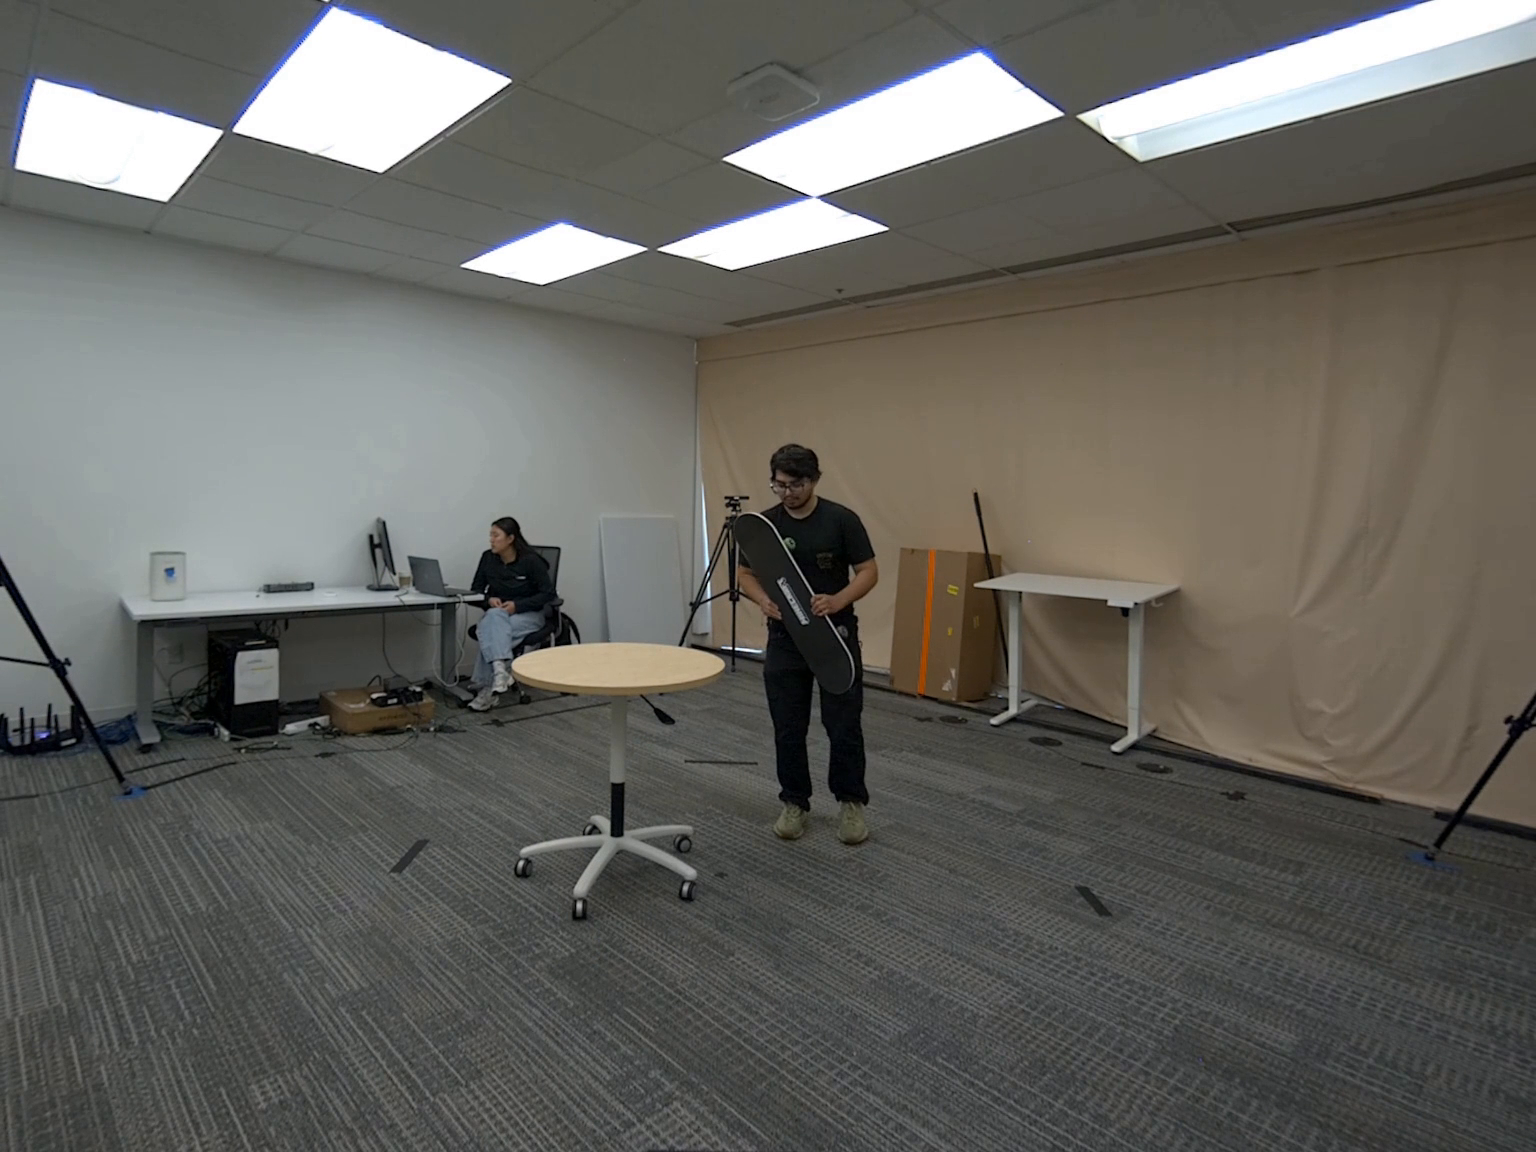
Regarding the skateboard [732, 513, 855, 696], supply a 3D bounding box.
[{"bbox_3d":[0.107,0.093,3.301,0.194,0.794,0.108,-38,-13,38],"label":"skateboard"}]
